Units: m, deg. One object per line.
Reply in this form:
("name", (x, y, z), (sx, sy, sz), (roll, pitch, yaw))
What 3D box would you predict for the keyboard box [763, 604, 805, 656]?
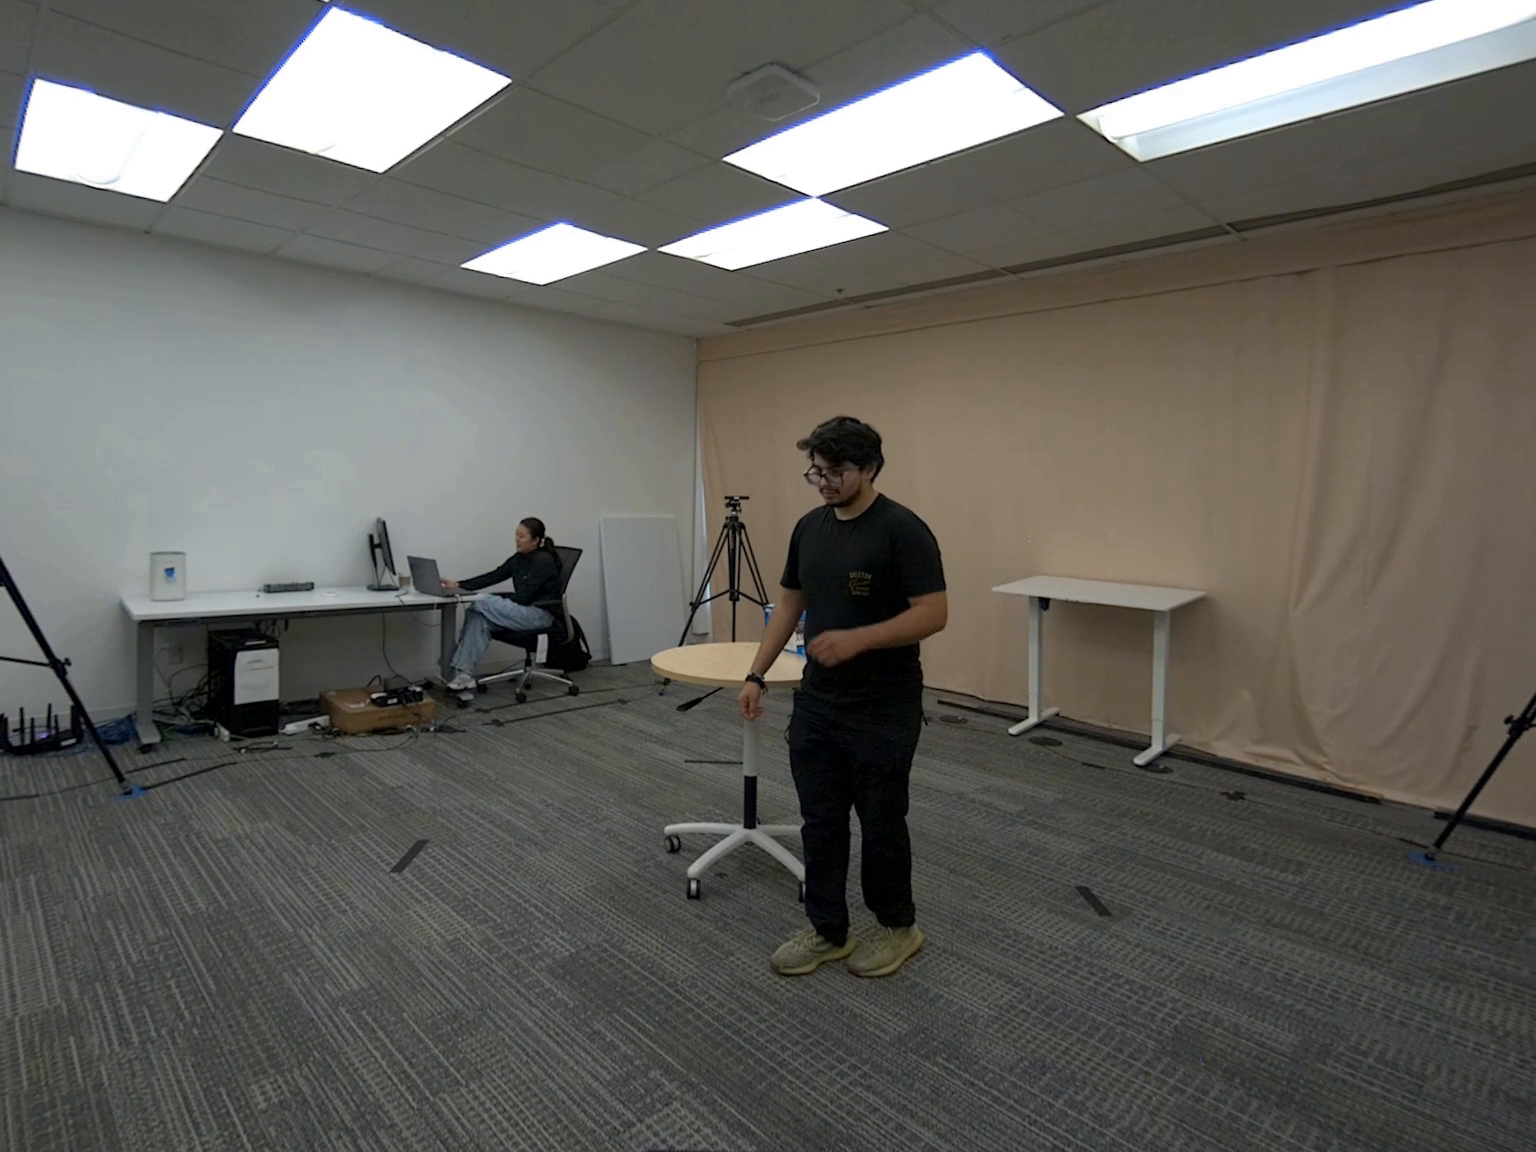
("keyboard box", (0.143, 0.223, 3.289), (0.058, 0.175, 0.447), (-8, 9, -35))
